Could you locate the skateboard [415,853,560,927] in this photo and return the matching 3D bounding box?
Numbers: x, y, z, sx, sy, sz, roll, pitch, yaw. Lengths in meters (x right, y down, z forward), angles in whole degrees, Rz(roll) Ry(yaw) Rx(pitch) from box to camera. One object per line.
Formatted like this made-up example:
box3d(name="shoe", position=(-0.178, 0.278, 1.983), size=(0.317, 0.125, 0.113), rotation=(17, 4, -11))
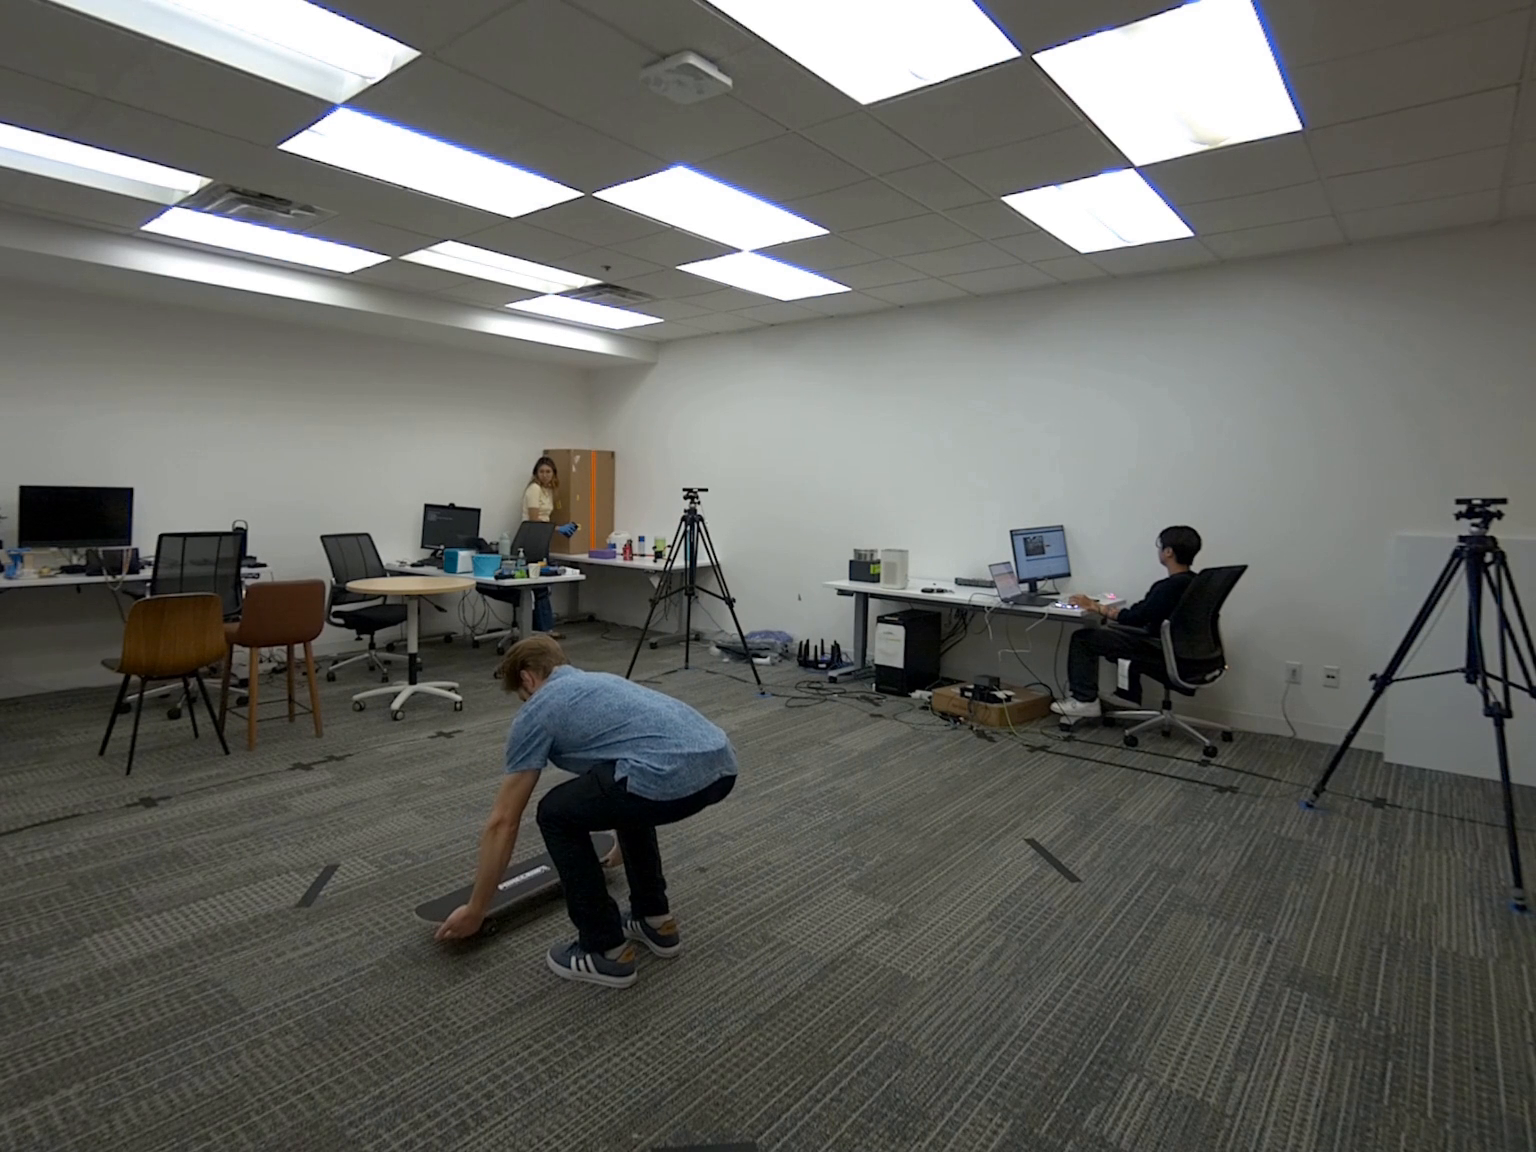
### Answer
box3d(name="skateboard", position=(-0.810, 1.025, 2.828), size=(0.200, 0.110, 0.763), rotation=(5, 7, 35))
